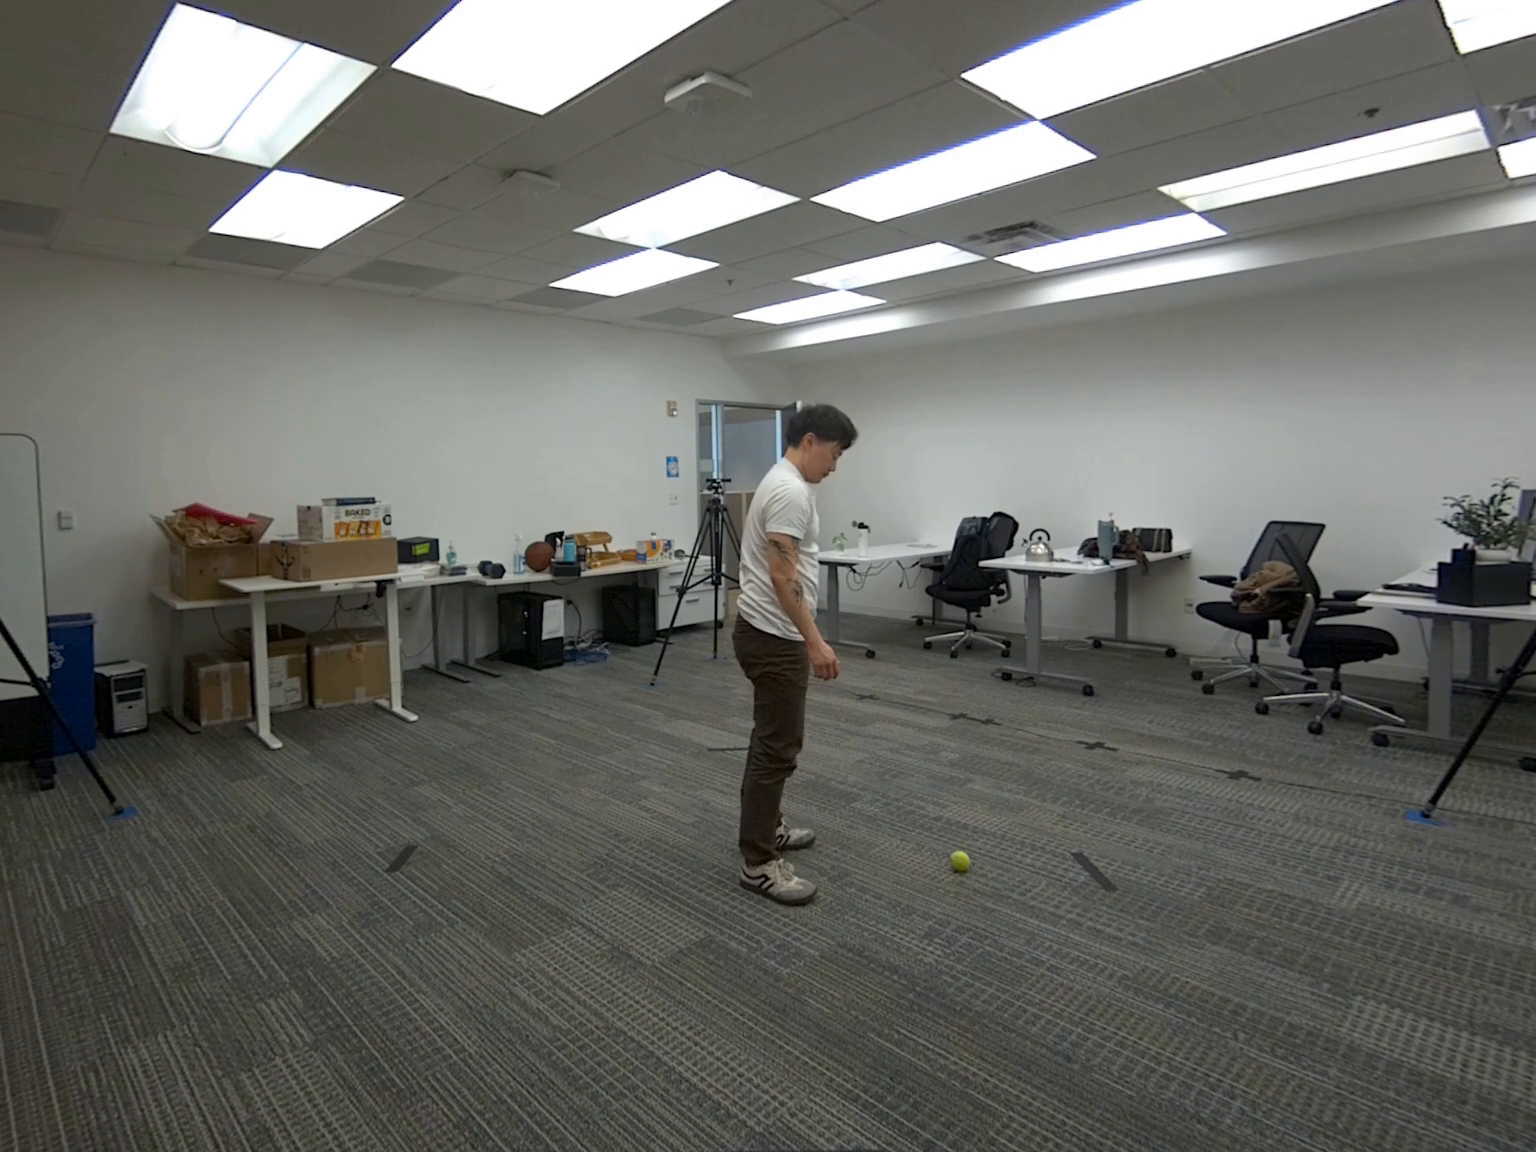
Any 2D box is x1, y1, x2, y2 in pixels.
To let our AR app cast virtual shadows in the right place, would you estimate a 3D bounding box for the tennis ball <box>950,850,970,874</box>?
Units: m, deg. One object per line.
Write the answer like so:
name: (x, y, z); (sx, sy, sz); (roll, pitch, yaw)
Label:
tennis ball: (0.687, 0.993, 3.018); (0.066, 0.066, 0.067); (-1, 5, -2)
